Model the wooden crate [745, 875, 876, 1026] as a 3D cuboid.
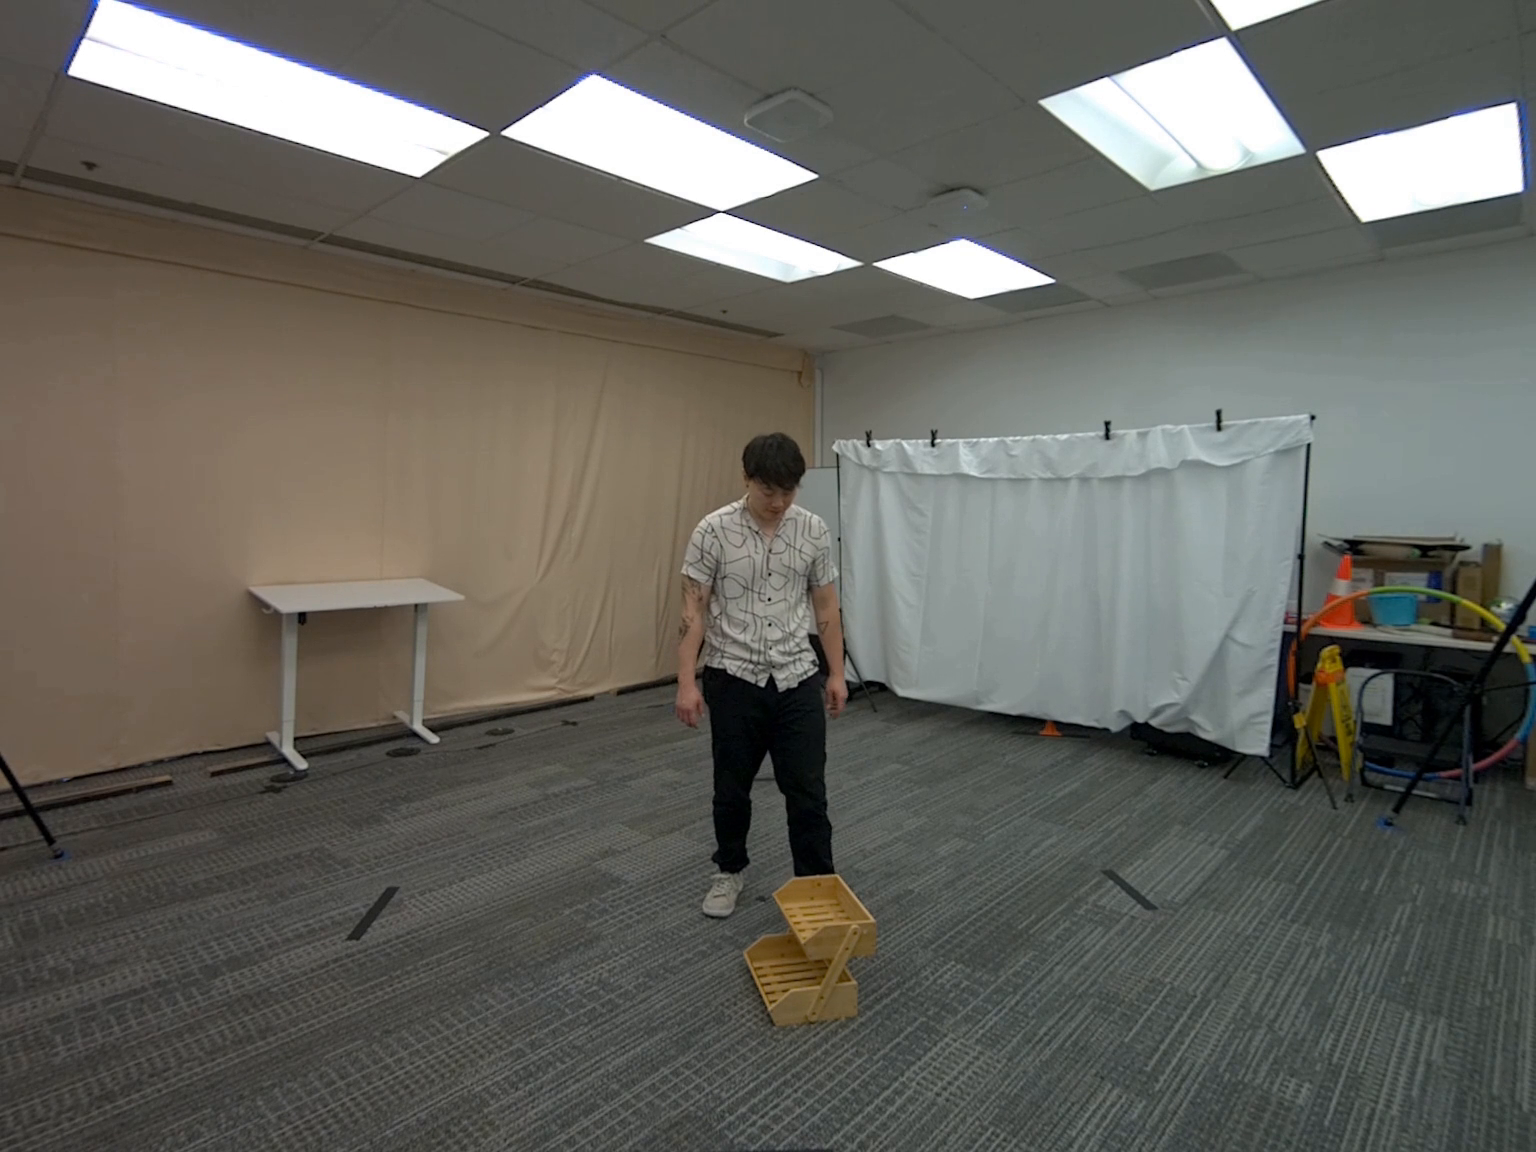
[{"bbox_3d":[0.104,1.055,2.411,0.298,0.273,0.330,0,4,-14],"label":"wooden crate"}]
